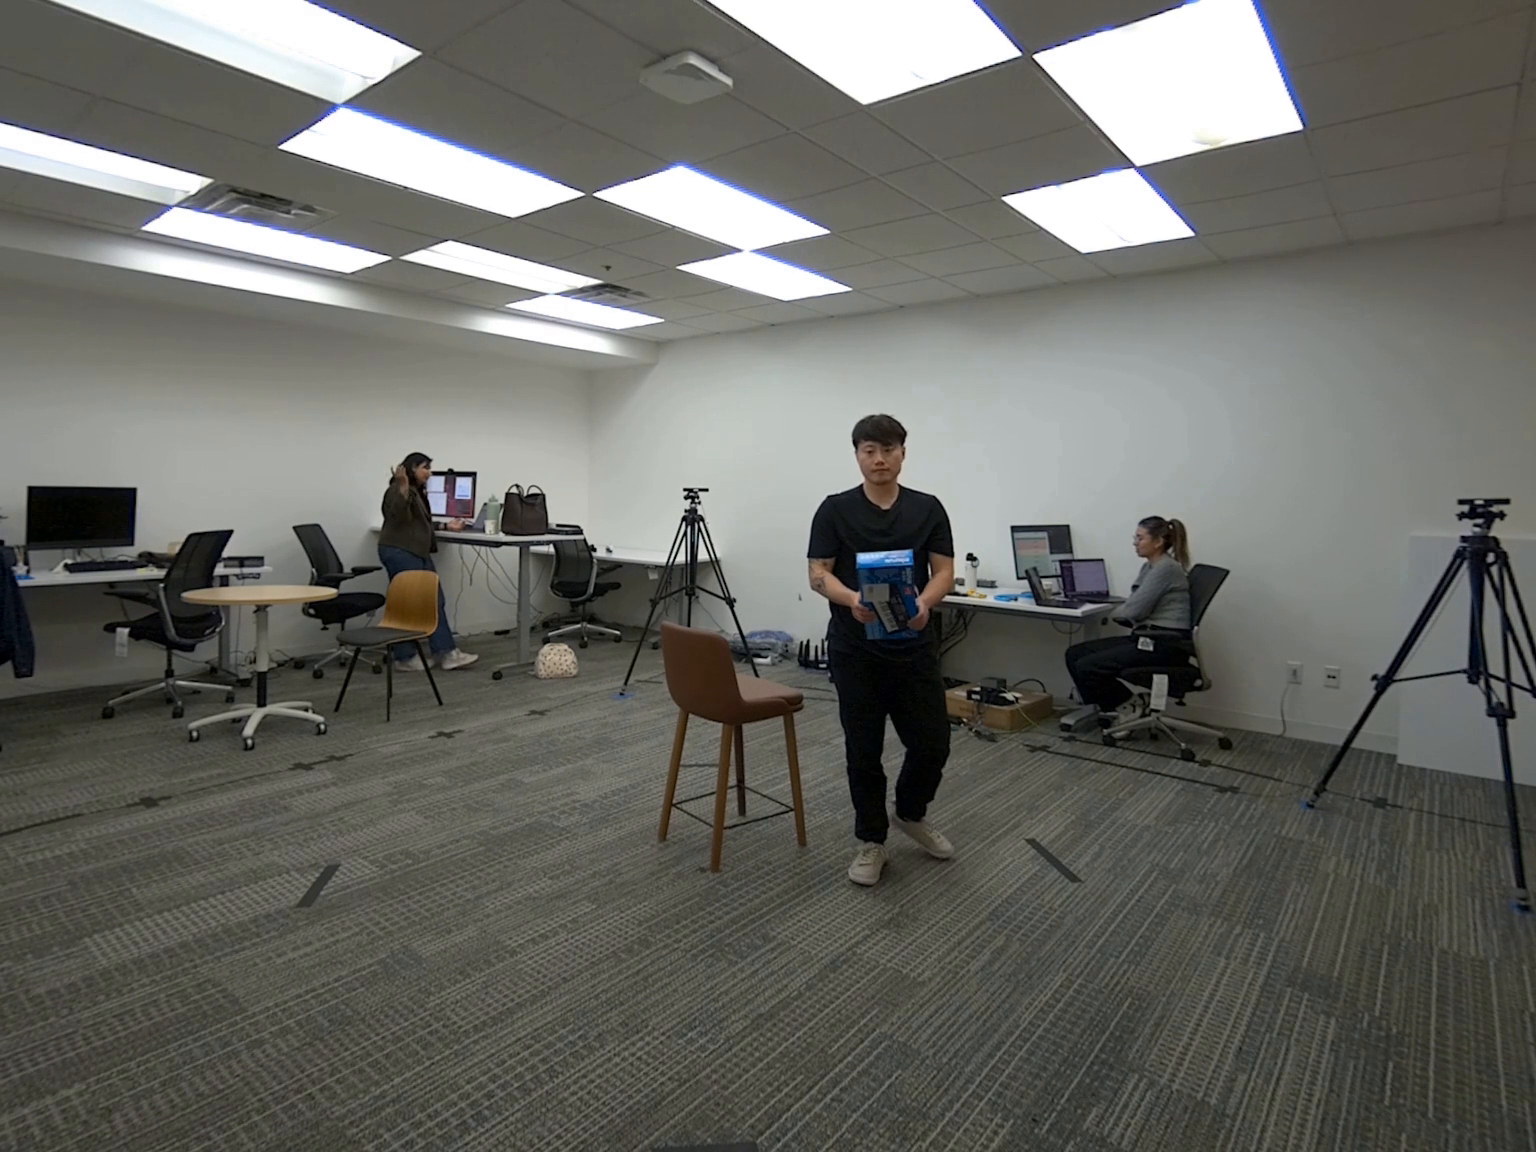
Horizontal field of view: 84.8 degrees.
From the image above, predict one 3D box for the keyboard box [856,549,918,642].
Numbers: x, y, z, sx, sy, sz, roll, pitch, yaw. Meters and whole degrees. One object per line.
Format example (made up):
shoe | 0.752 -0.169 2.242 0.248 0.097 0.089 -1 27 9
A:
keyboard box | 0.384 0.067 2.758 0.178 0.060 0.421 -2 -37 9
